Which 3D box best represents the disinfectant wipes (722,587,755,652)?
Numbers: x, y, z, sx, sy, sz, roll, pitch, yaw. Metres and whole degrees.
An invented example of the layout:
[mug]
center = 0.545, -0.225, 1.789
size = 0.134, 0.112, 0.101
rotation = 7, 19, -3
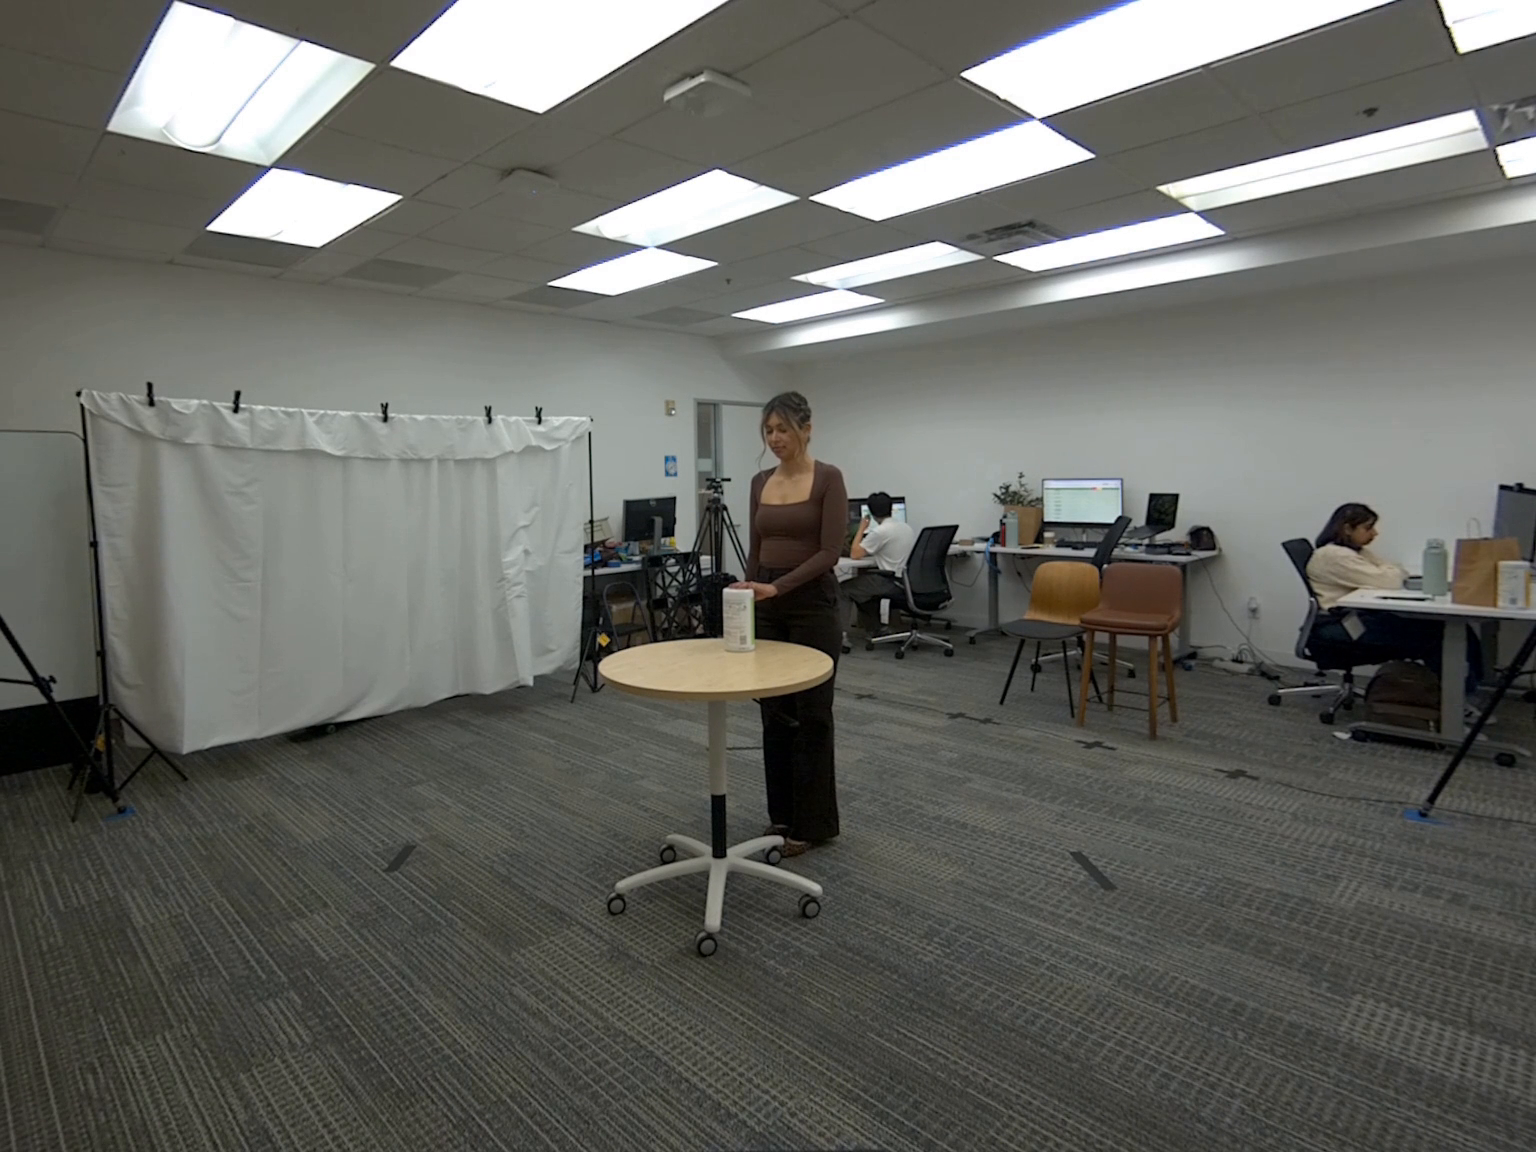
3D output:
[disinfectant wipes]
center = -0.097, 0.152, 2.985
size = 0.118, 0.217, 0.118
rotation = 0, 3, -2
